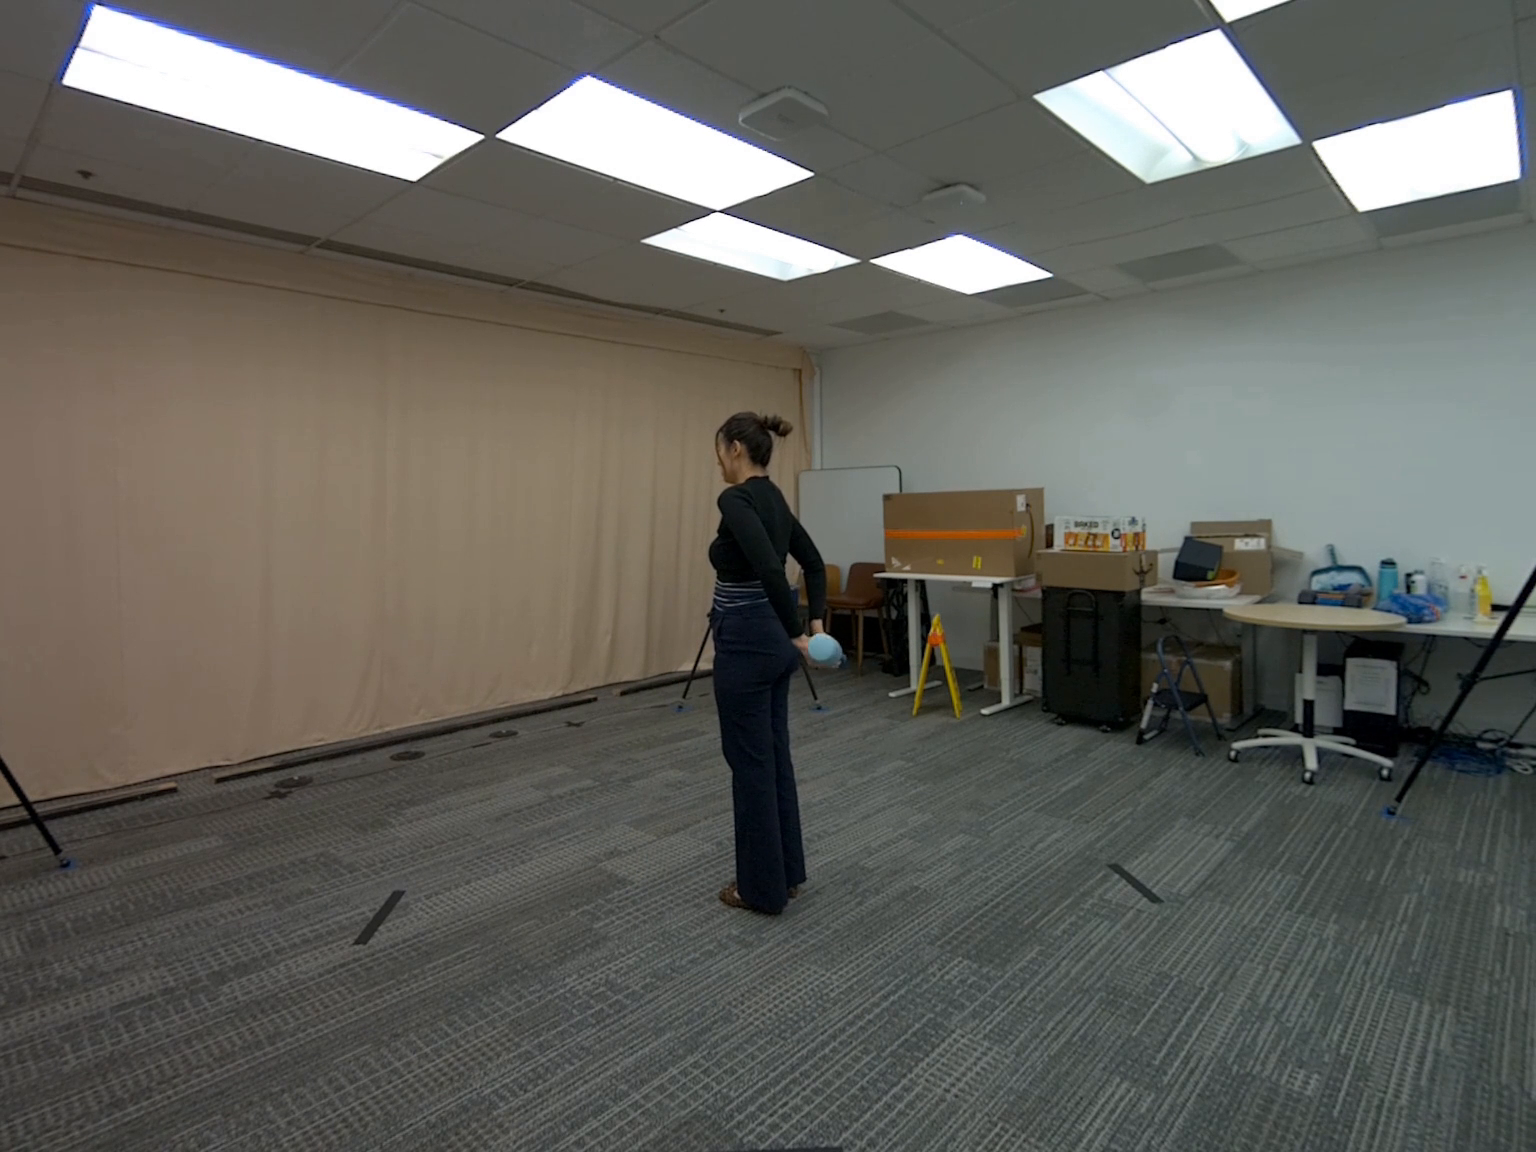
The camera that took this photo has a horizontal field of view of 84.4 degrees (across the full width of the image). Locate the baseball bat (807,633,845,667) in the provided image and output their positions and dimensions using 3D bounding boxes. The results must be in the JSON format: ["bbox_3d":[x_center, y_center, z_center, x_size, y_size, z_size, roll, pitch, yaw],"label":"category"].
[{"bbox_3d":[0.189,0.256,2.708,0.090,0.089,0.534,0,-10,7],"label":"baseball bat"}]
